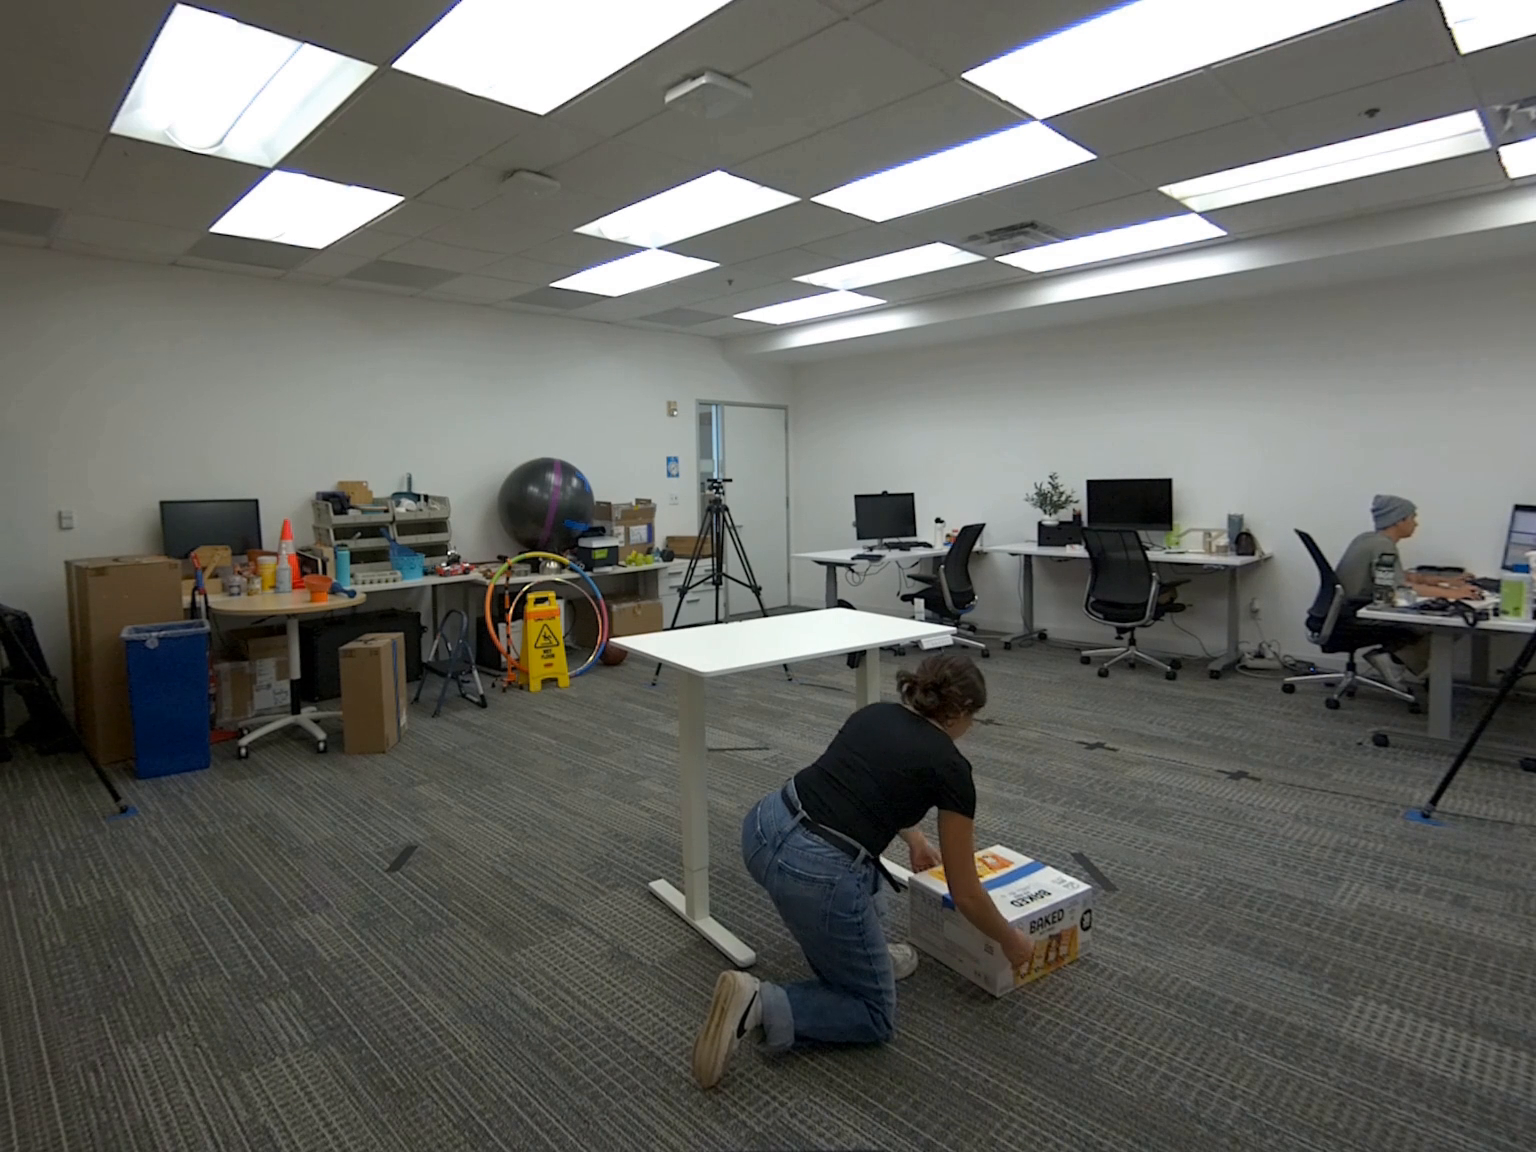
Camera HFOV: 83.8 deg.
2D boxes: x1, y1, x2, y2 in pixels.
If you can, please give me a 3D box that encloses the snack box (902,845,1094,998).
[{"bbox_3d":[0.685,0.998,2.514,0.395,0.205,0.350,-5,7,-33],"label":"snack box"}]
